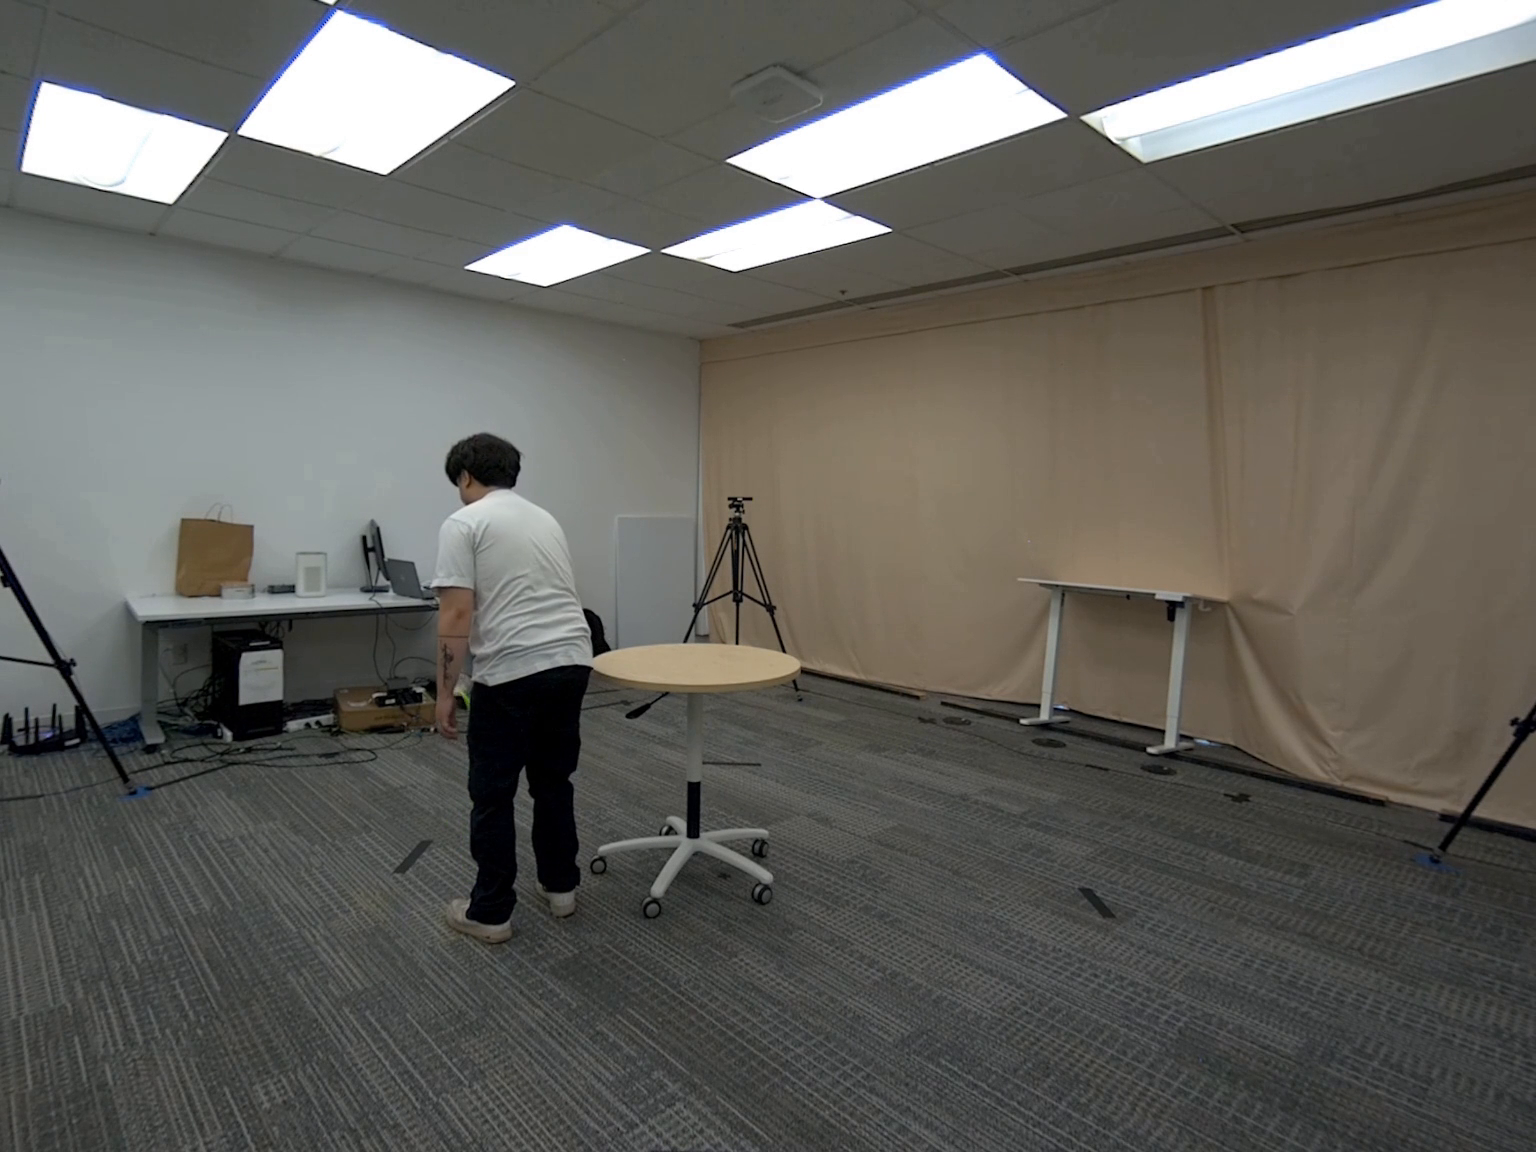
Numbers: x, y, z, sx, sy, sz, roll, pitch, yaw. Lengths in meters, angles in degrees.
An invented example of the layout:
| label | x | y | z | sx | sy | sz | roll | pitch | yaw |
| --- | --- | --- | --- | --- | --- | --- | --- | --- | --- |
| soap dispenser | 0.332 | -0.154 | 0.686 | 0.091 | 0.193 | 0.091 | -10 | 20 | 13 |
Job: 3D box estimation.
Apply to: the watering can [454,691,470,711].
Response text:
| label | x | y | z | sx | sy | sz | roll | pitch | yaw |
| --- | --- | --- | --- | --- | --- | --- | --- | --- | --- |
| watering can | -1.004 | 0.528 | 3.019 | 0.285 | 0.176 | 0.096 | 13 | 3 | 29 |
